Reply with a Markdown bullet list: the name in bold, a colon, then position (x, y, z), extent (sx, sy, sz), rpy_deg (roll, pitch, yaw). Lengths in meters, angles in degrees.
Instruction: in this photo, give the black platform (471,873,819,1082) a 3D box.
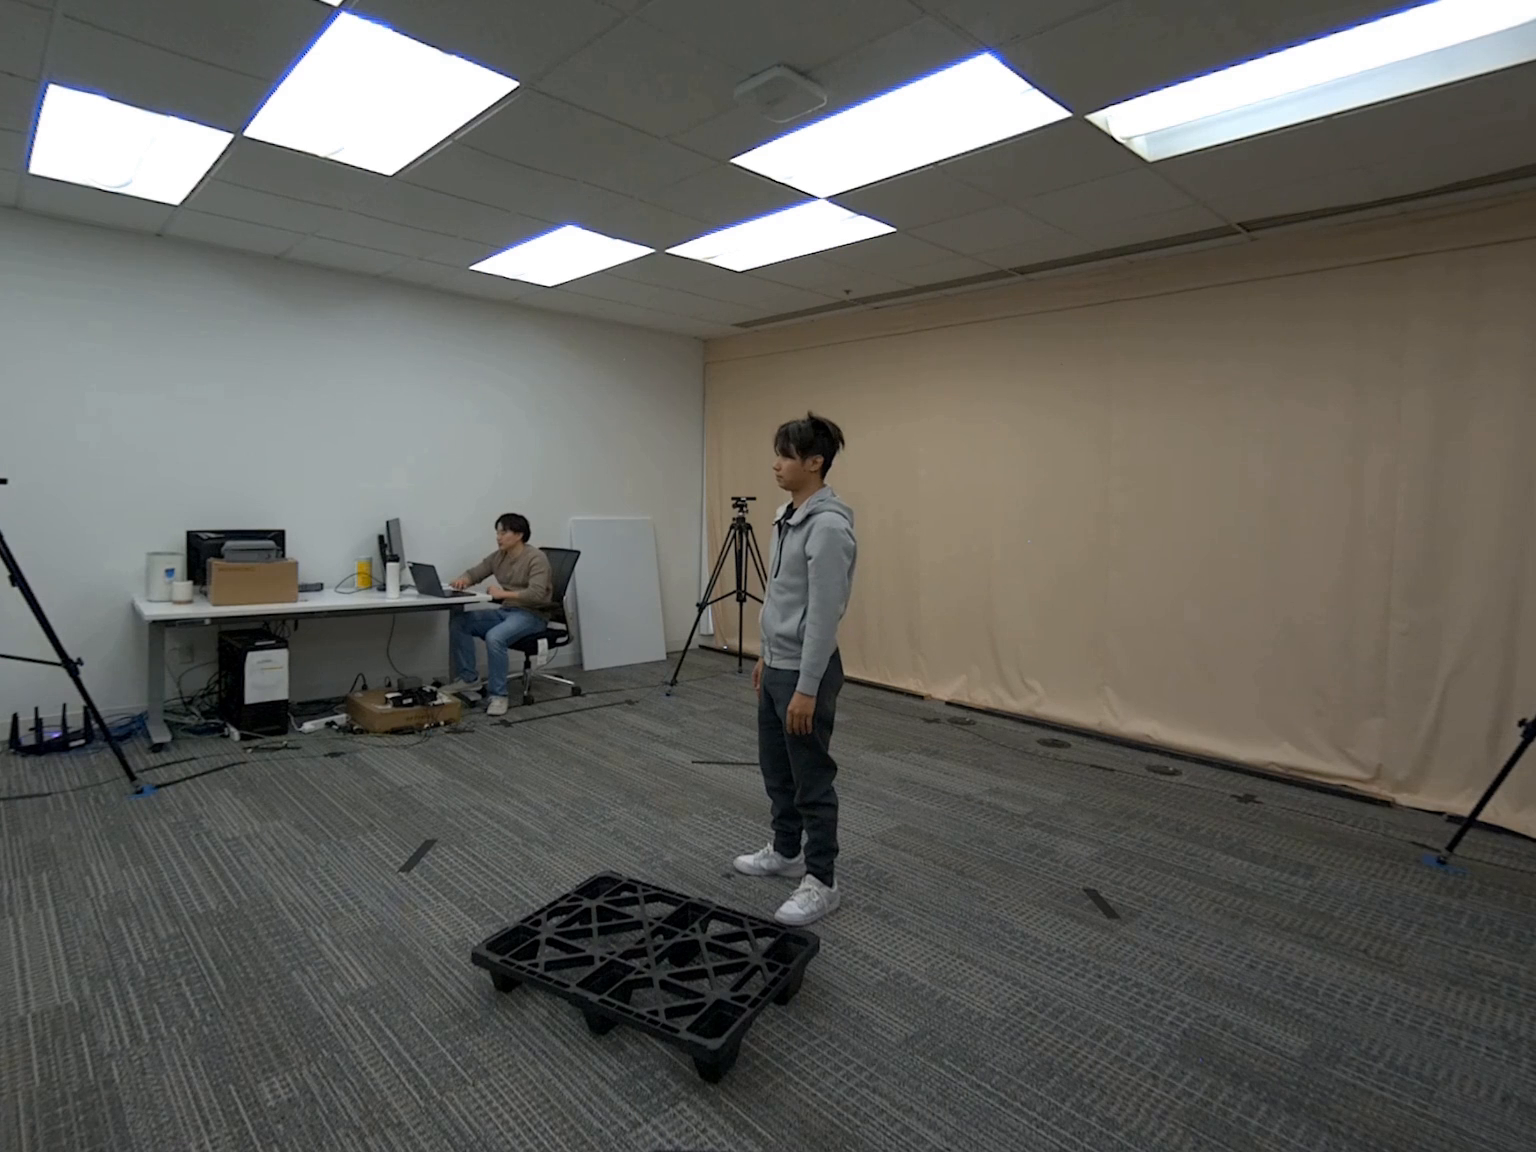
- **black platform**: position (-0.339, 1.102, 2.373), extent (0.823, 0.143, 0.594), rpy_deg (4, 7, 29)
